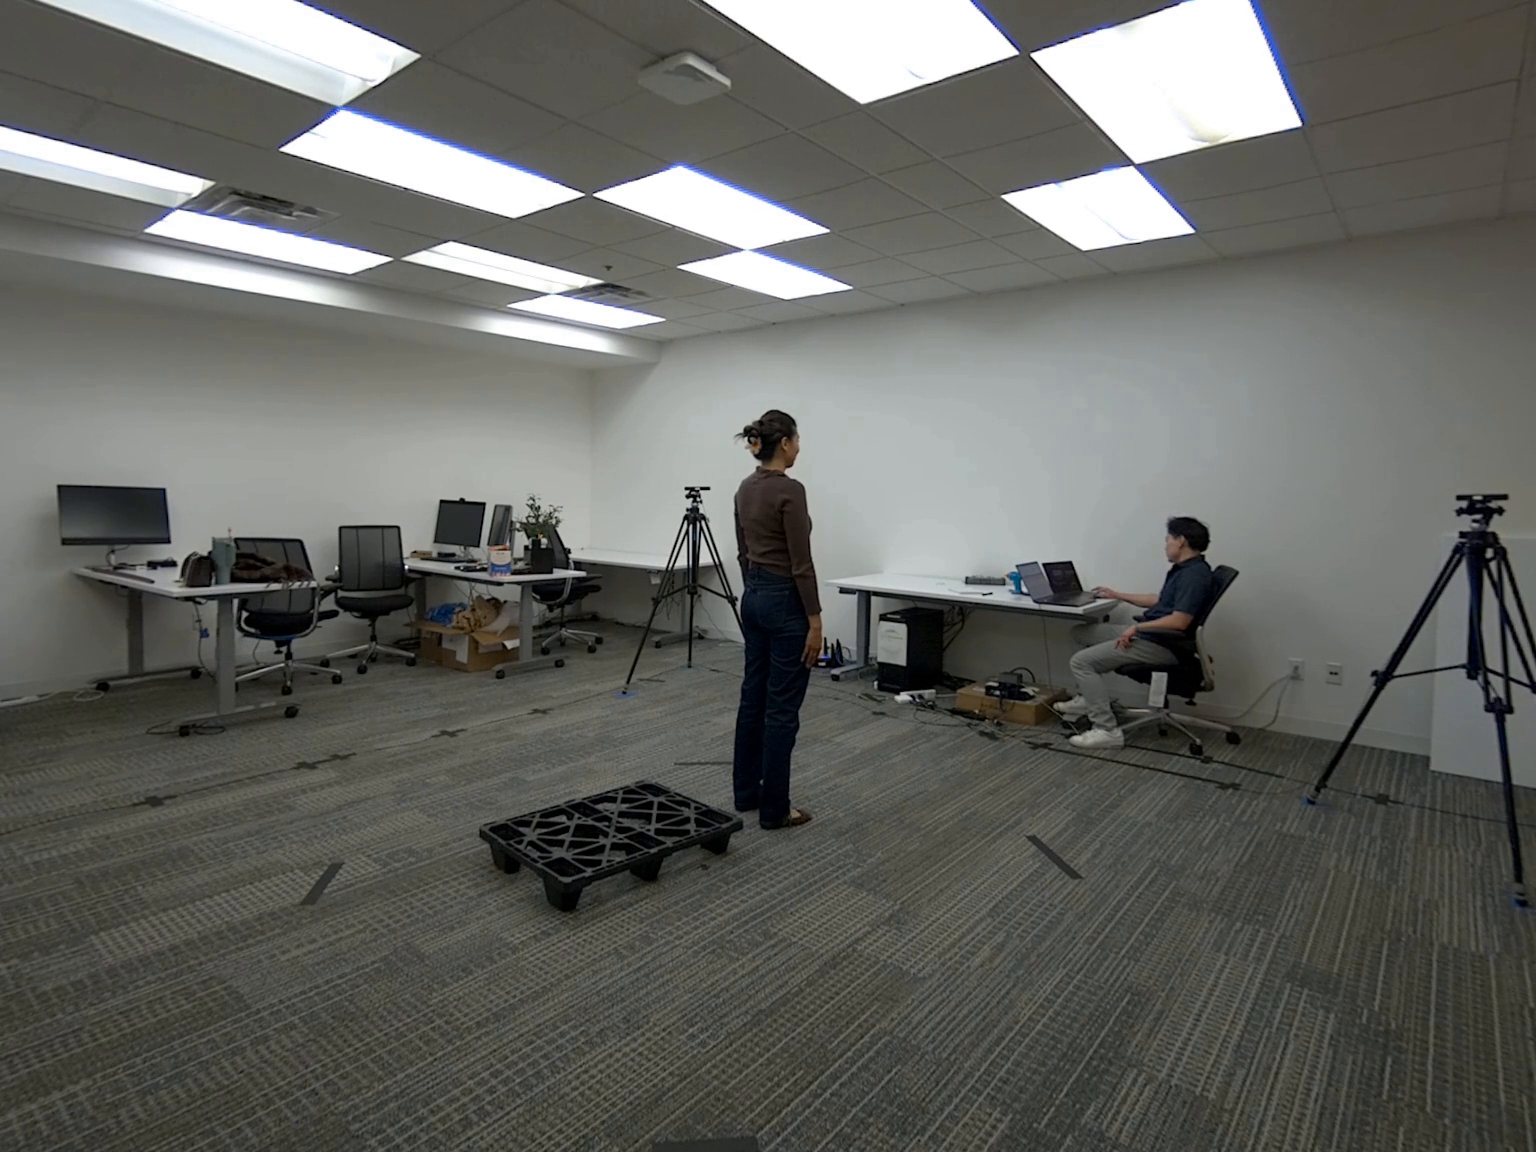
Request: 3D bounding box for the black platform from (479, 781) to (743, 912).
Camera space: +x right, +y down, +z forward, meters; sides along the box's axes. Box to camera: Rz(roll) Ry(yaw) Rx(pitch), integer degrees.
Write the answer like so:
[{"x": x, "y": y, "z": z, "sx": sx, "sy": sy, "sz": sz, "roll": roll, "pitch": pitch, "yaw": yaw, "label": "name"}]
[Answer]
[{"x": -0.583, "y": 0.988, "z": 3.177, "sx": 0.781, "sy": 0.143, "sz": 0.626, "roll": -5, "pitch": 9, "yaw": -44, "label": "black platform"}]
